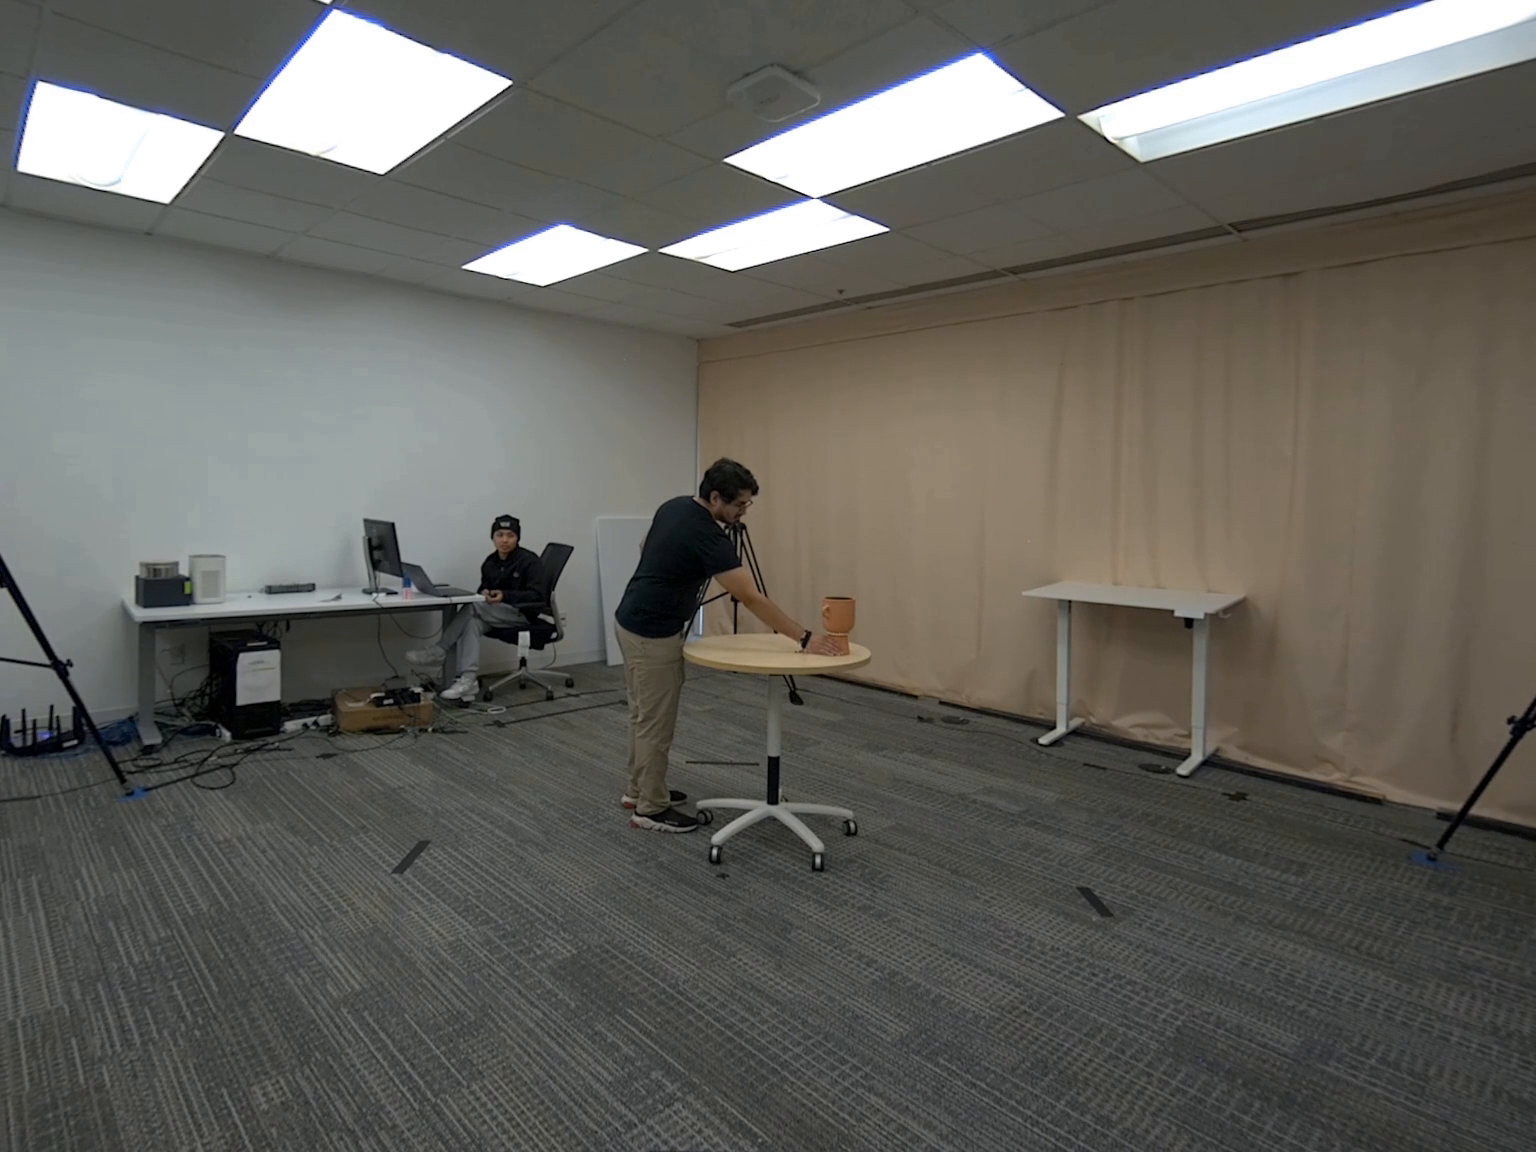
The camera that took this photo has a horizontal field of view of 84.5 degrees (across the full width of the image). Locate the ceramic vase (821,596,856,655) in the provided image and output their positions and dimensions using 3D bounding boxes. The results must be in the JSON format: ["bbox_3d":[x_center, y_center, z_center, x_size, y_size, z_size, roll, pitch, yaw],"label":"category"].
[{"bbox_3d":[0.274,0.201,3.378,0.158,0.219,0.135,1,3,-6],"label":"ceramic vase"}]
